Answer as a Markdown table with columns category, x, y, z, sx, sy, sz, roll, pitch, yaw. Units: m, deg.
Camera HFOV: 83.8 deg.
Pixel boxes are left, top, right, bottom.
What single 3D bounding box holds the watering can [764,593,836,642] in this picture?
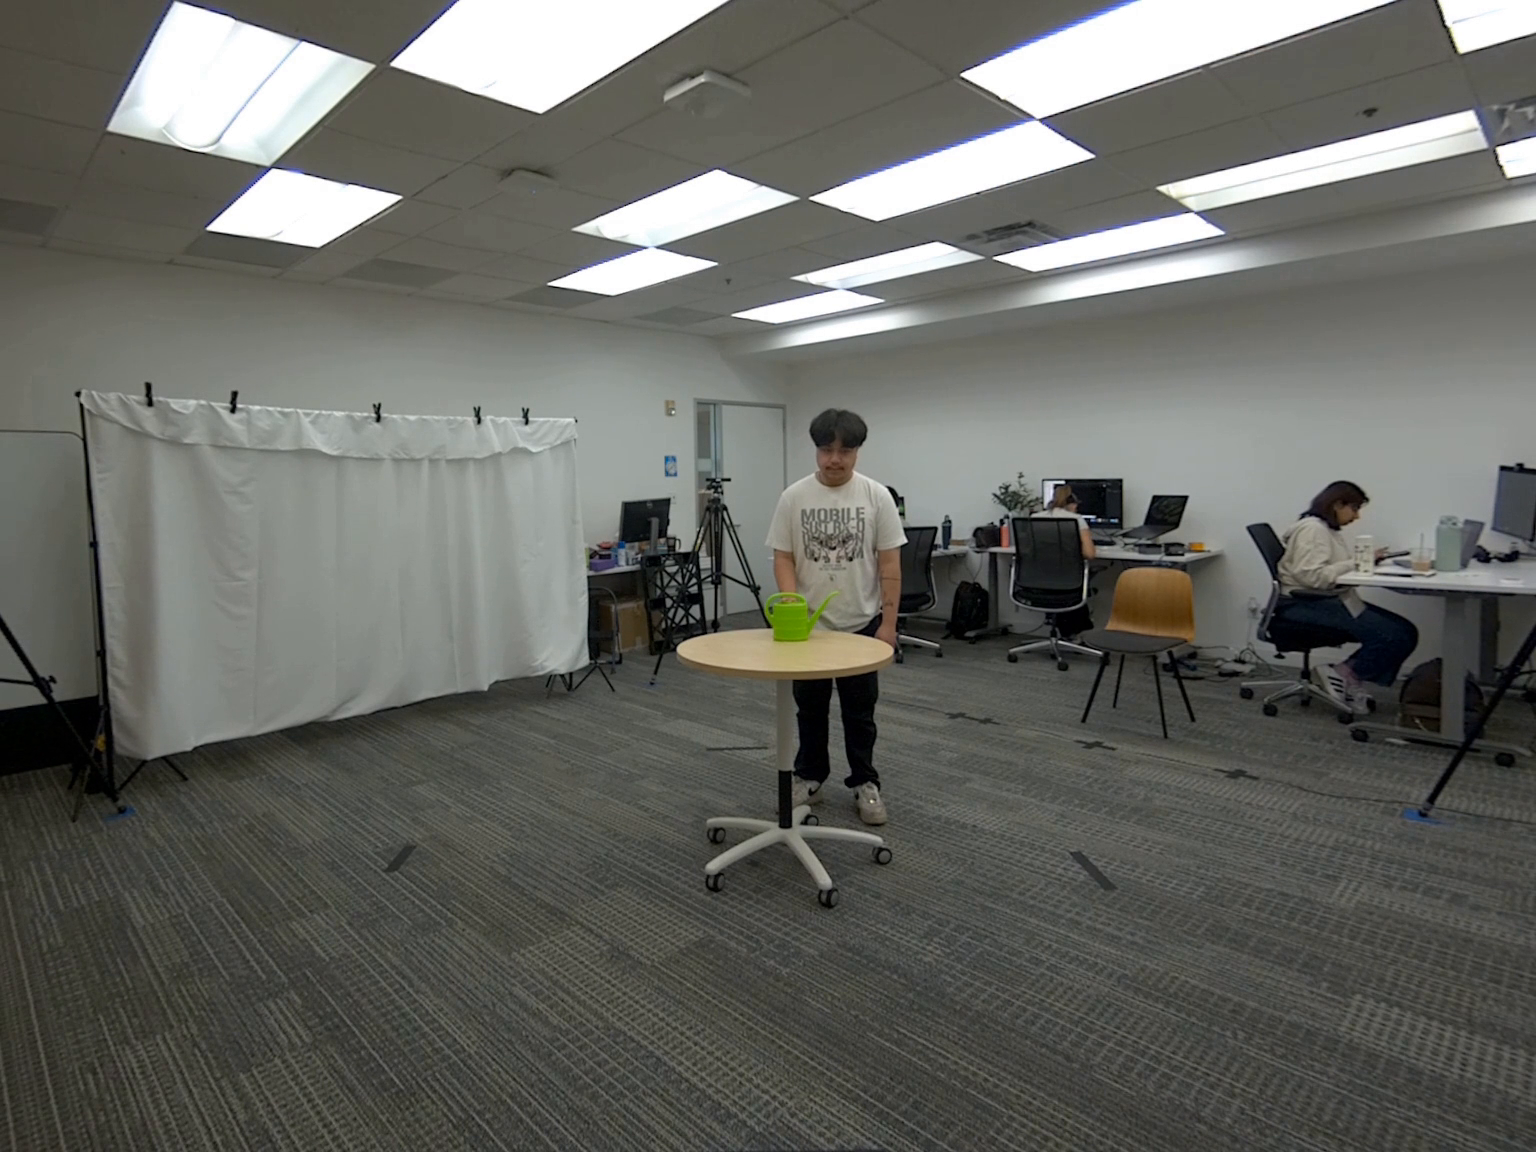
| category | x | y | z | sx | sy | sz | roll | pitch | yaw |
| --- | --- | --- | --- | --- | --- | --- | --- | --- | --- |
| watering can | 0.130 | 0.156 | 3.183 | 0.281 | 0.176 | 0.097 | 1 | 4 | 9 |
